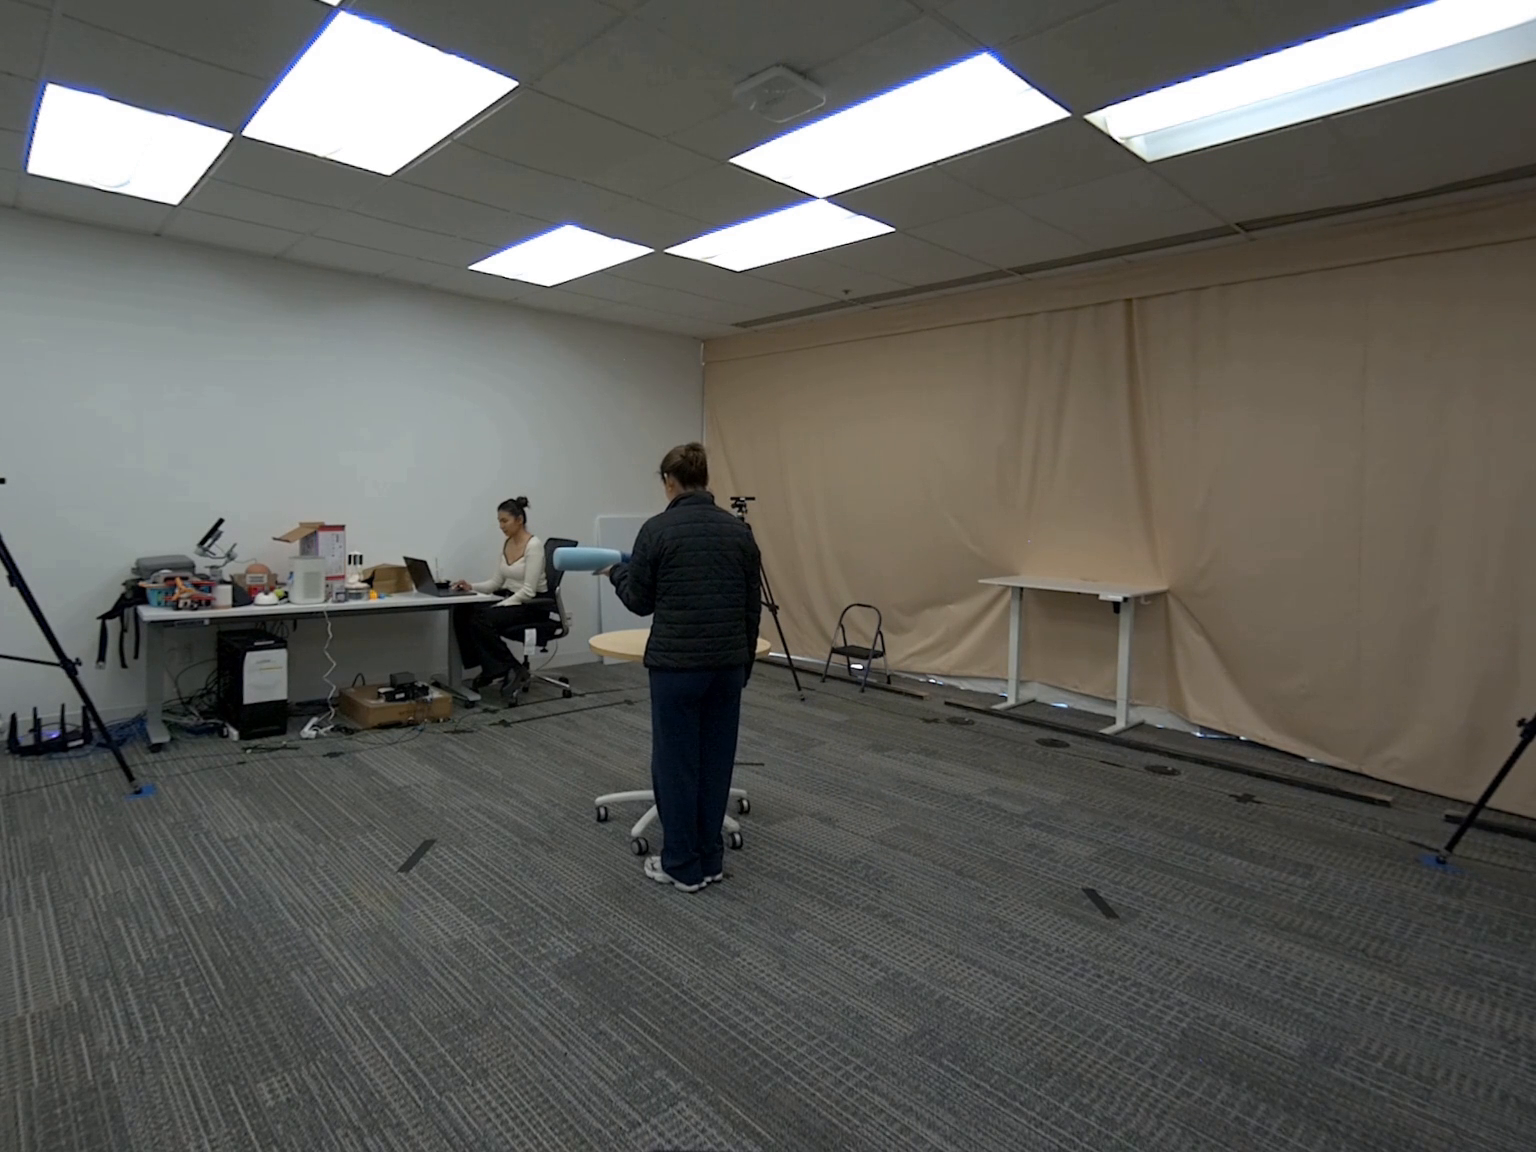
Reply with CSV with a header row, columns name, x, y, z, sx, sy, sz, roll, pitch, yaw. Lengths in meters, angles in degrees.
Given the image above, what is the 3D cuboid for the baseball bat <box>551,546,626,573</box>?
name,x,y,z,sx,sy,sz,roll,pitch,yaw
baseball bat,-0.560,-0.060,3.238,0.532,0.089,0.091,0,4,-29
